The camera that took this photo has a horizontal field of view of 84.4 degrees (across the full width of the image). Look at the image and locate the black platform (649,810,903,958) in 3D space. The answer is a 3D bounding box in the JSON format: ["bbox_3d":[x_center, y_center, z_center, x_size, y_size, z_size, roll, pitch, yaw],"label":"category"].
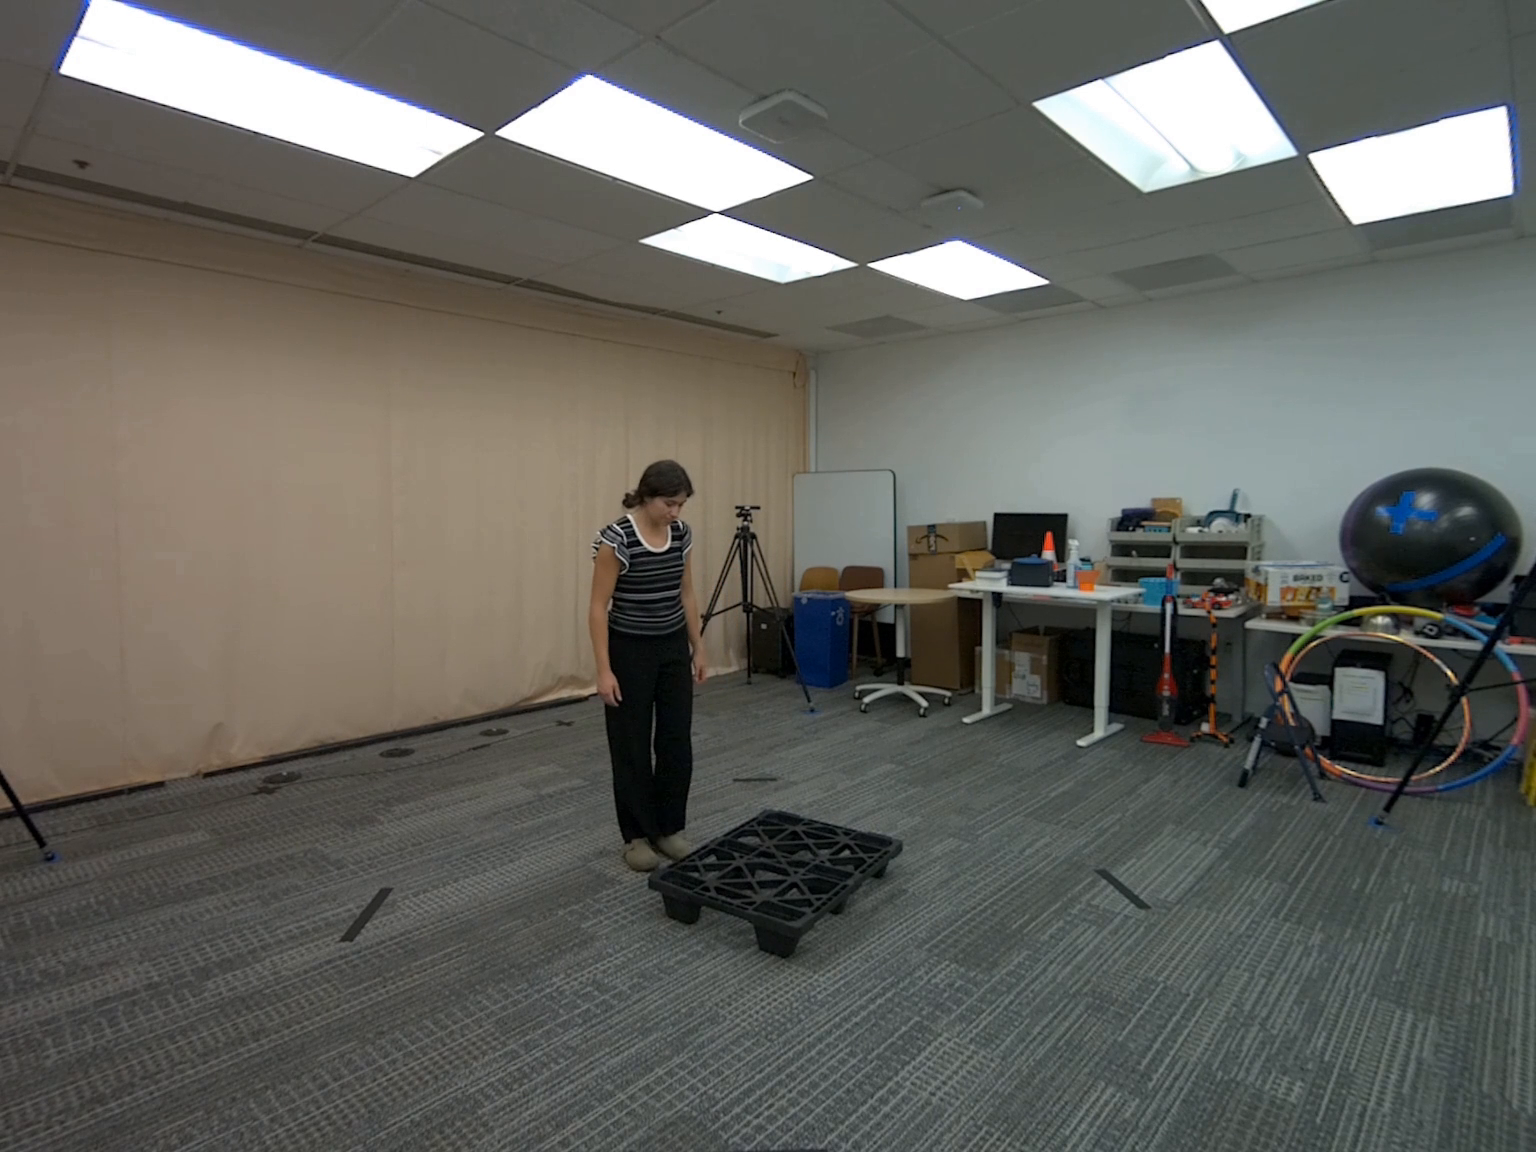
[{"bbox_3d":[0.059,1.074,3.011,0.624,0.143,0.783,4,6,33],"label":"black platform"}]
